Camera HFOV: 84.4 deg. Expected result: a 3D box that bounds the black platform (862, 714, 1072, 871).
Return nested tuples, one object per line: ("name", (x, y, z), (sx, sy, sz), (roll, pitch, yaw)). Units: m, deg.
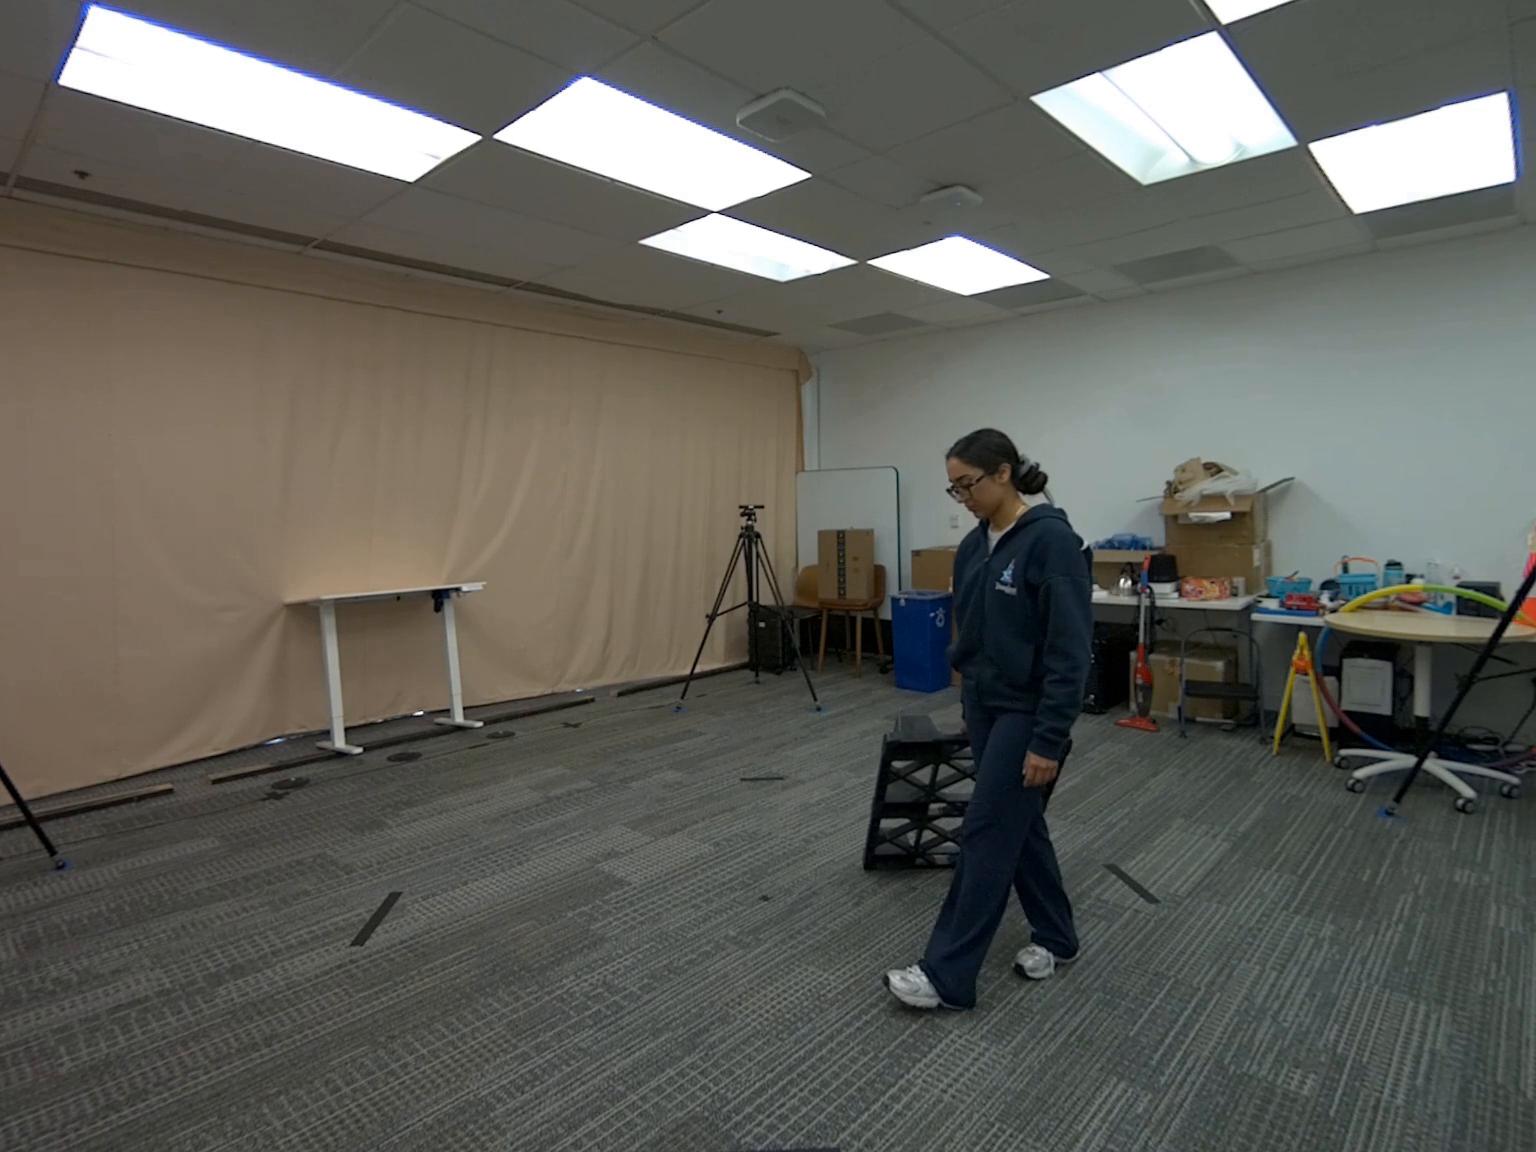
("black platform", (0.661, 0.780, 2.971), (0.606, 0.790, 0.146), (1, 41, 1))
